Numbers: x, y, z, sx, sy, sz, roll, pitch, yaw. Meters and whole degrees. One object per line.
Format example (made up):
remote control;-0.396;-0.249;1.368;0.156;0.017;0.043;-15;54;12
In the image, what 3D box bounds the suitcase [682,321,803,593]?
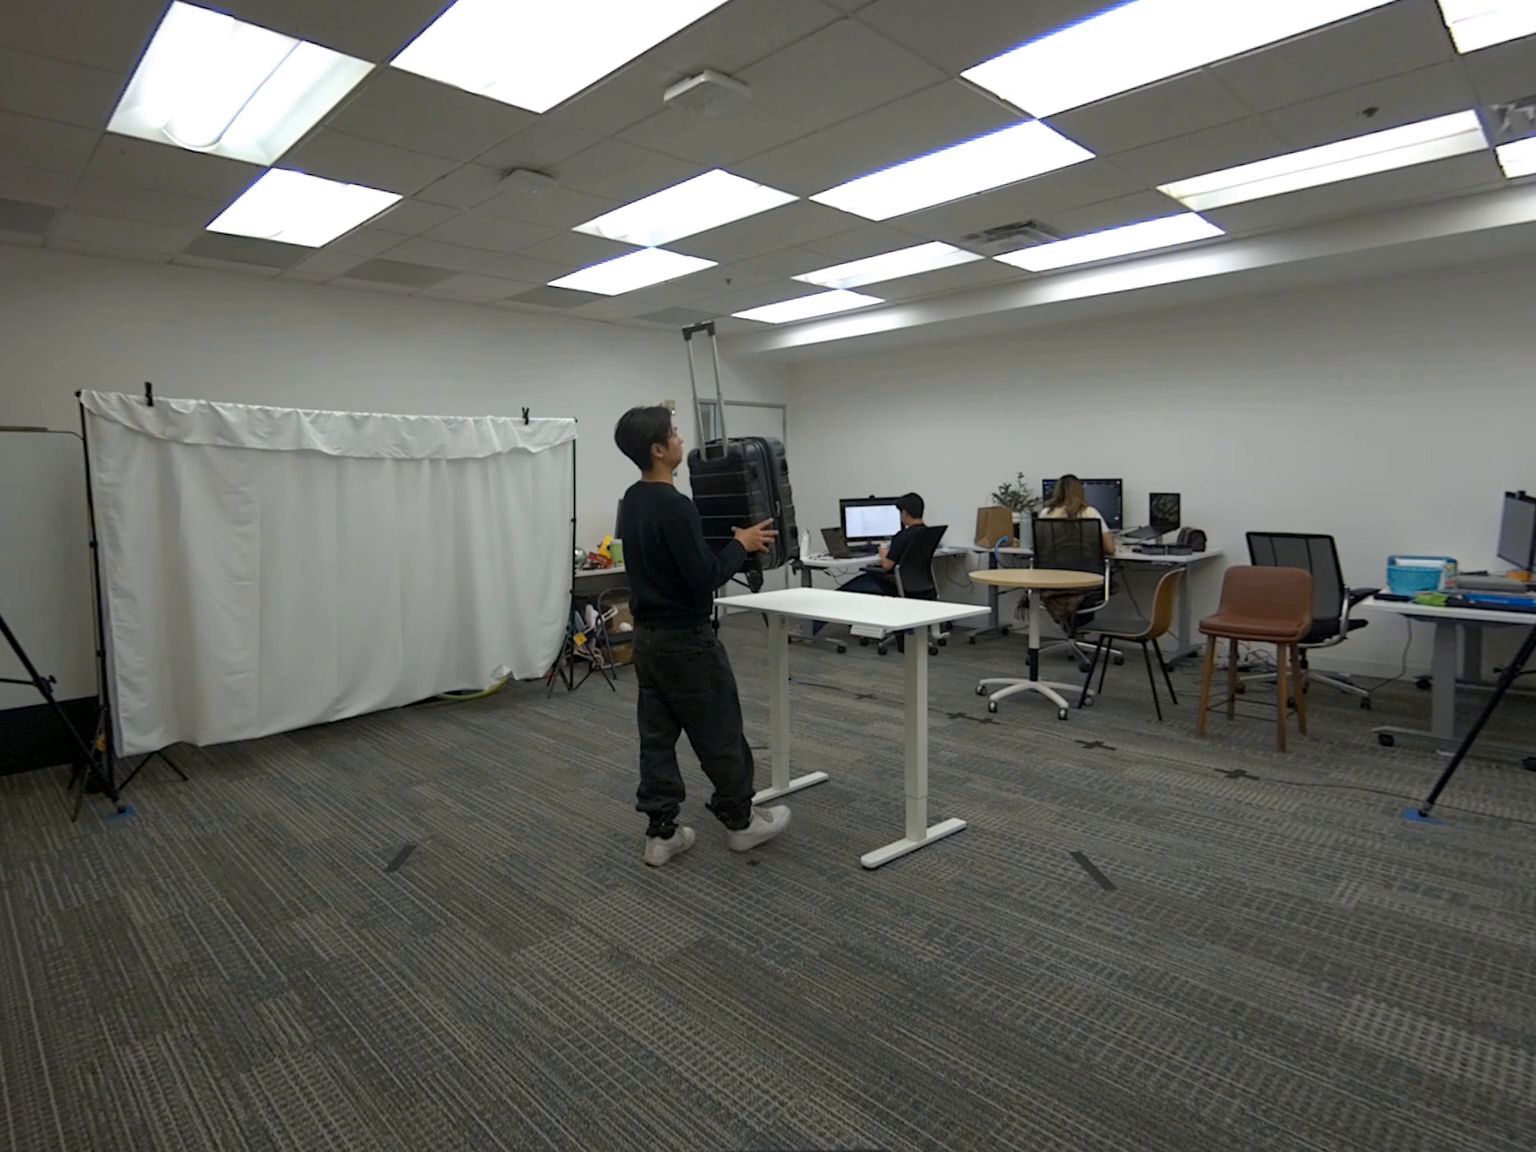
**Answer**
suitcase;-0.118;-0.463;3.268;0.251;0.971;0.395;-14;10;-41
